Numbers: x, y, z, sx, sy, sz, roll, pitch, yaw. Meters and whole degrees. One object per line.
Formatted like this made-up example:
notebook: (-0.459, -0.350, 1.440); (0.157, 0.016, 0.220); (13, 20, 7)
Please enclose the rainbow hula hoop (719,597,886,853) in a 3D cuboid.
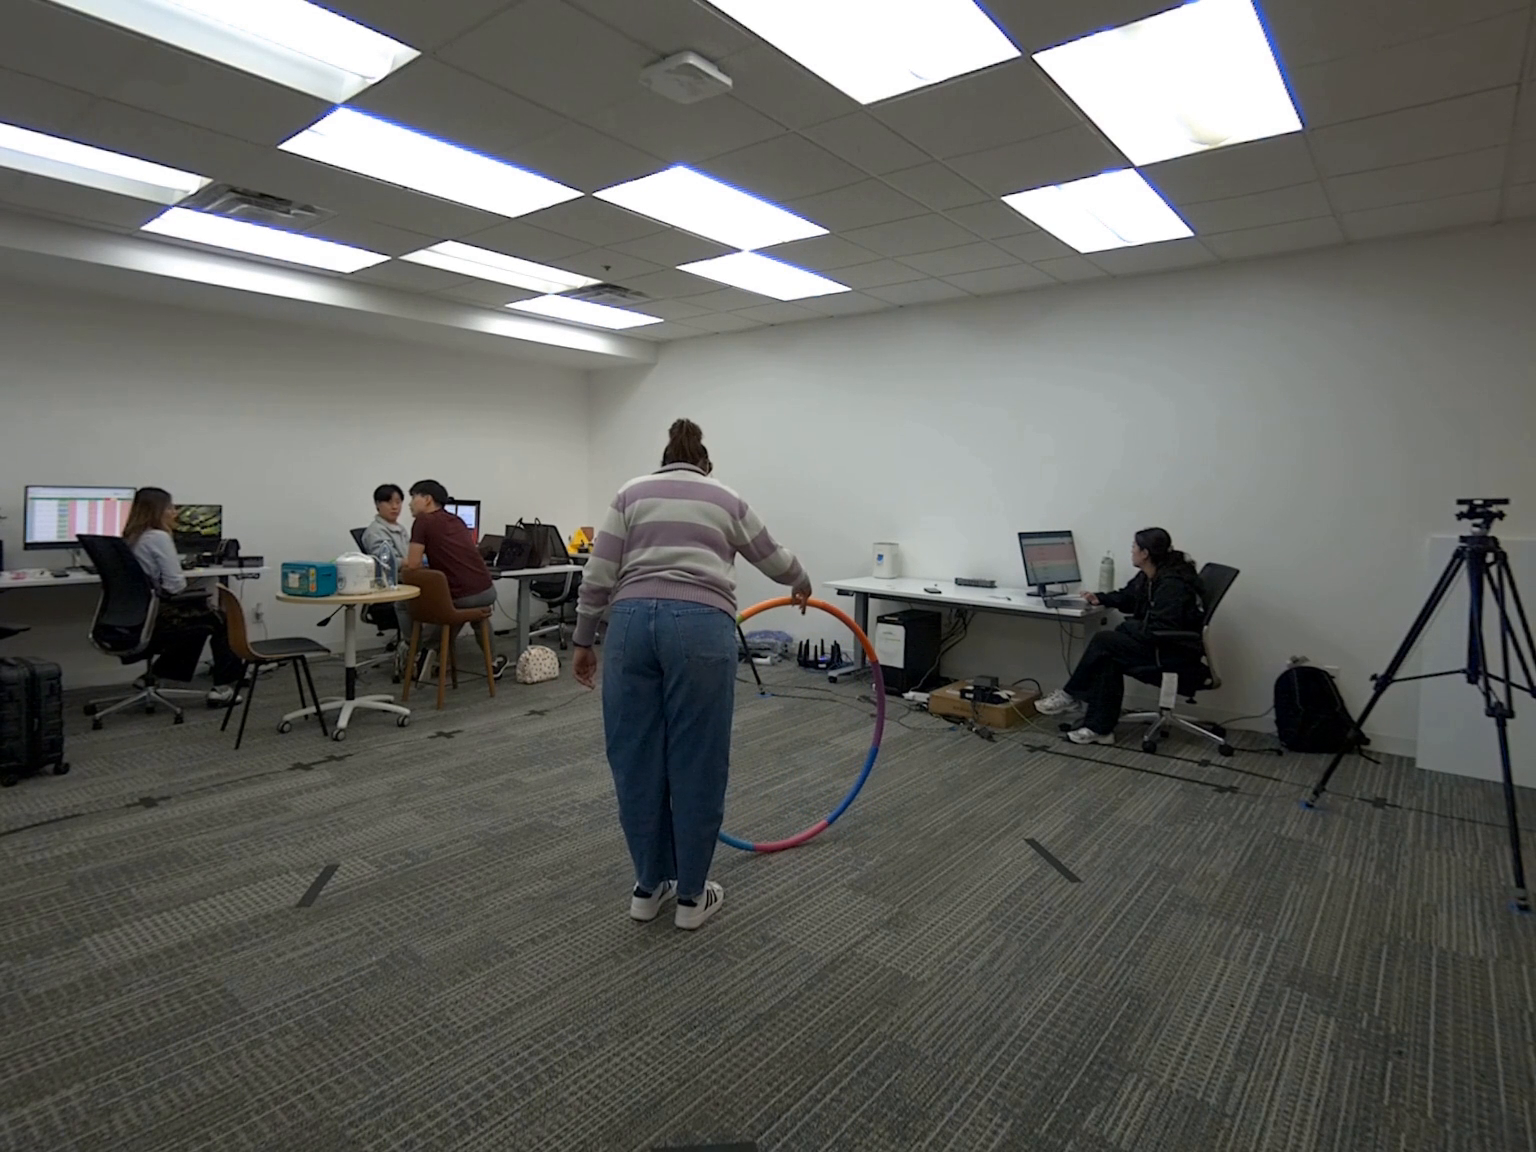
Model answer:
rainbow hula hoop: (0.060, 0.568, 3.280); (0.952, 0.976, 0.036); (-2, 4, -31)
